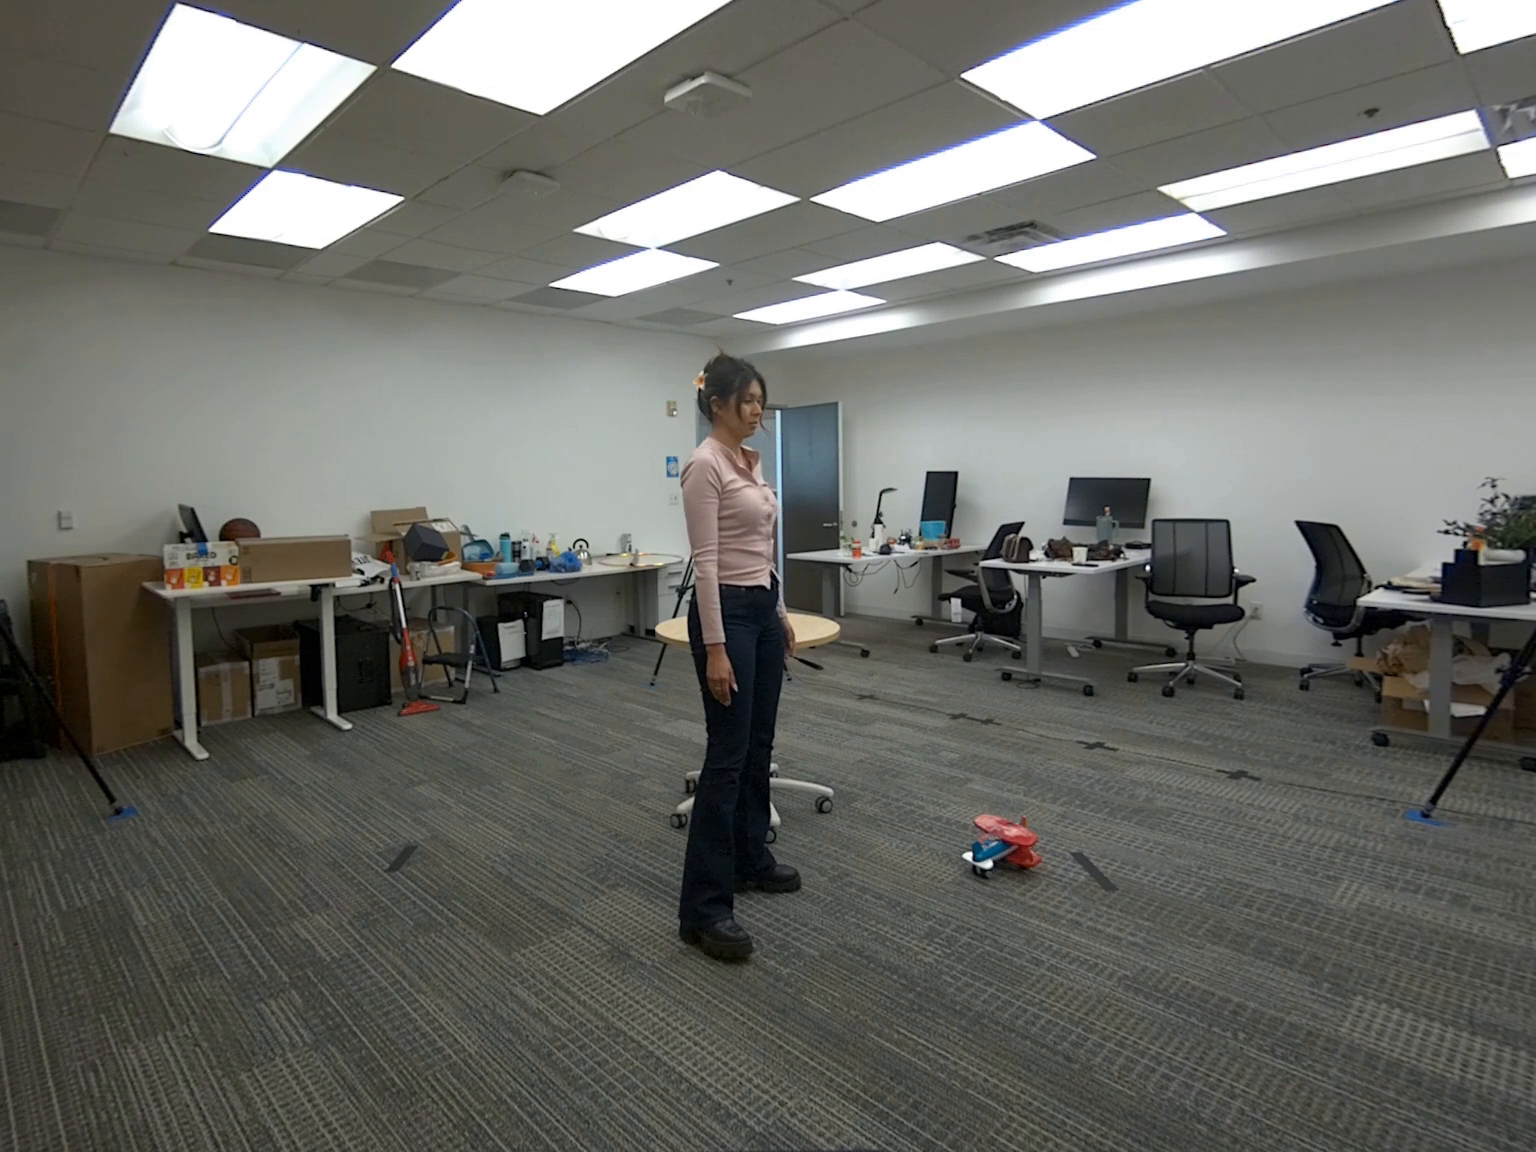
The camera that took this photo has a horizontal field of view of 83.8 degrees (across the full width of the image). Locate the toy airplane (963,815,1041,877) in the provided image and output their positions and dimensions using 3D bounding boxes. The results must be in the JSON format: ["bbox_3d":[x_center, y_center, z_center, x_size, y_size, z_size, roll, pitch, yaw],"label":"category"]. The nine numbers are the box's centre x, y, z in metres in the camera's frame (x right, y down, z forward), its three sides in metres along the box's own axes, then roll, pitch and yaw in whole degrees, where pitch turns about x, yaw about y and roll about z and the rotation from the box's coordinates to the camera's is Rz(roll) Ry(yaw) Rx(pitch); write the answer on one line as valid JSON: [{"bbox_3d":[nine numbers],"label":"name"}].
[{"bbox_3d":[0.833,0.966,3.011,0.258,0.156,0.253,2,5,30],"label":"toy airplane"}]
